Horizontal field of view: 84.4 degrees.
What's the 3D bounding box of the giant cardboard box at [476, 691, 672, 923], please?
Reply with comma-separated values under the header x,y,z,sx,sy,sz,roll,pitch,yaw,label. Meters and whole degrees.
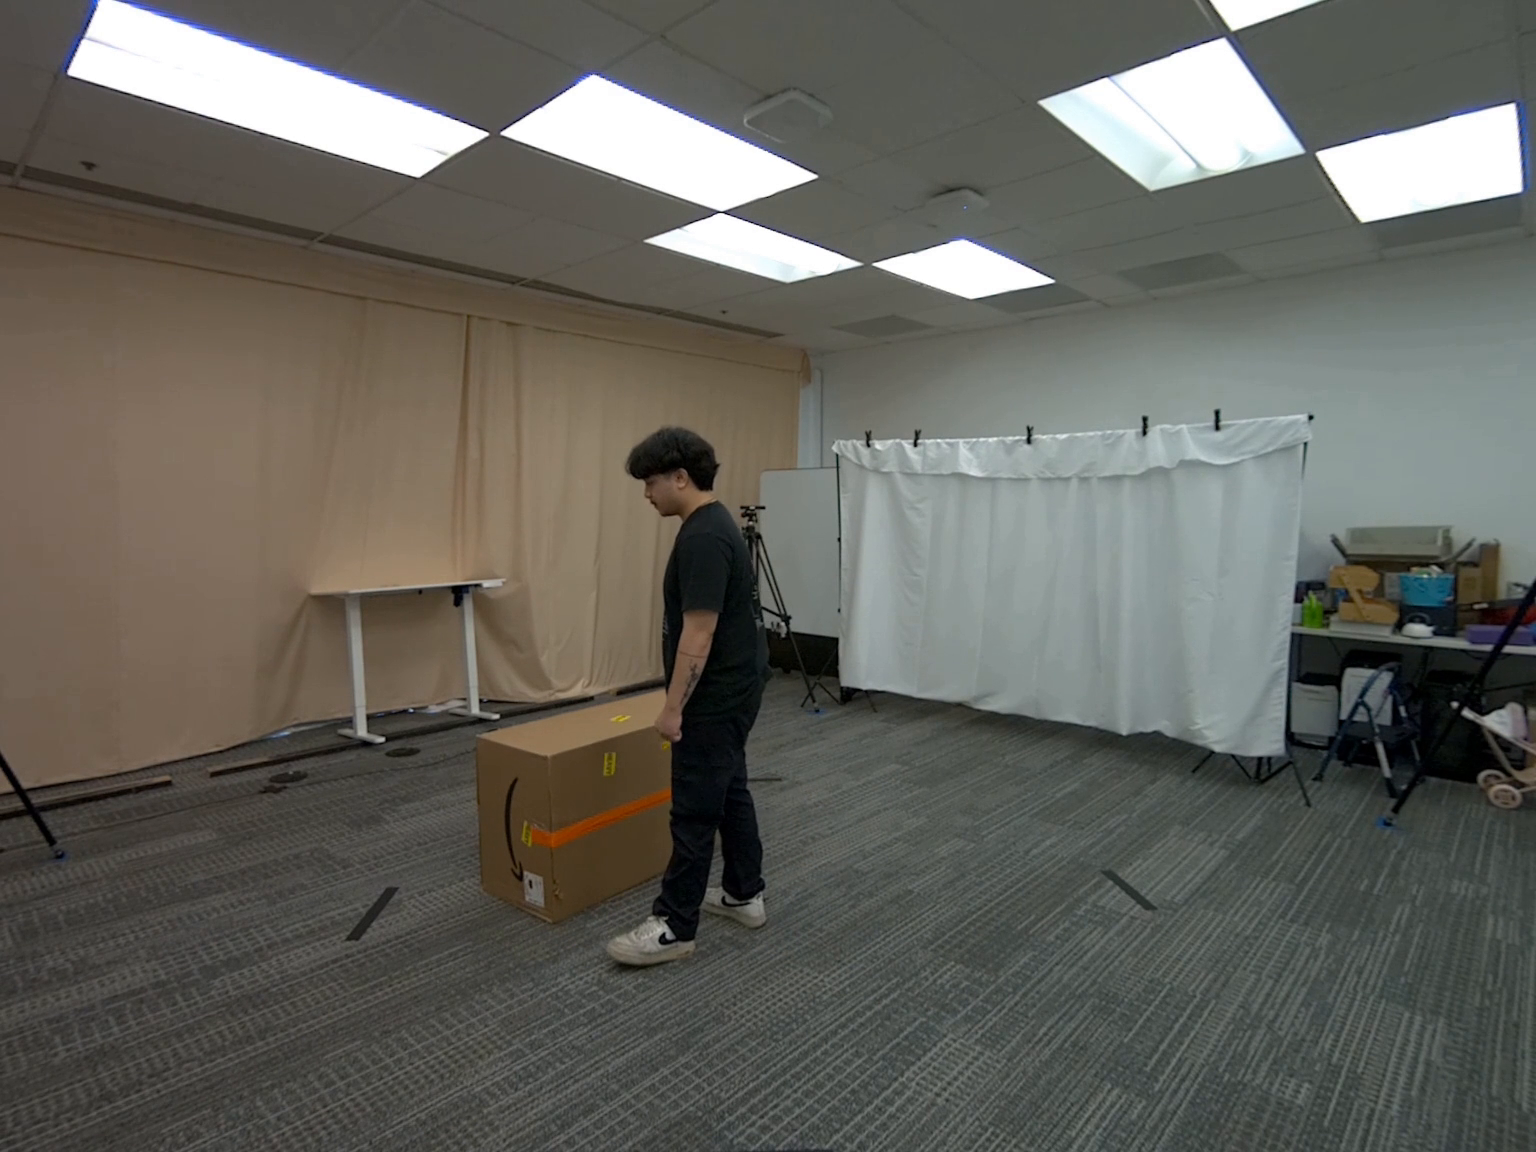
x,y,z,sx,sy,sz,roll,pitch,yaw,label
-0.579,0.835,3.311,0.461,0.582,0.997,3,6,39,giant cardboard box
